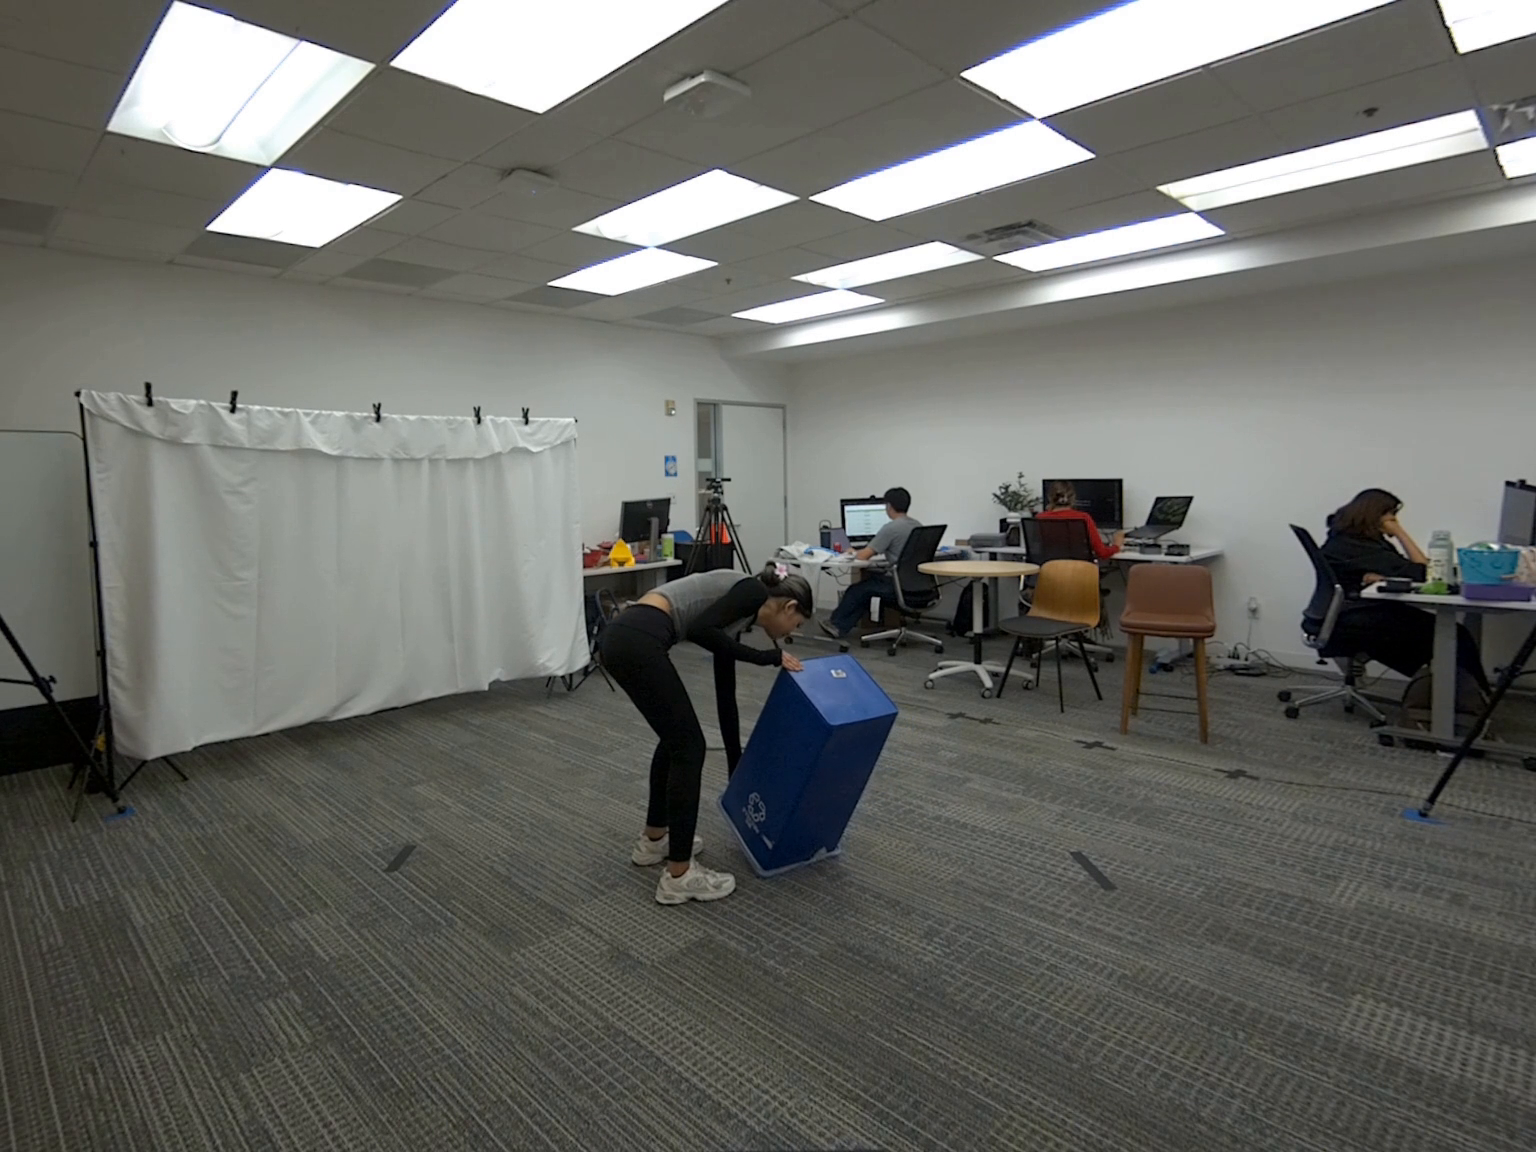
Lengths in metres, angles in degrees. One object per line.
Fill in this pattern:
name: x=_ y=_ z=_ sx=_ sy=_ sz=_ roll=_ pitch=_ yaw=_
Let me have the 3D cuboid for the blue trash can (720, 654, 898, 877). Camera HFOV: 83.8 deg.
blue trash can: x=0.142 y=0.656 z=3.020 sx=0.368 sy=0.703 sz=0.389 roll=-3 pitch=36 yaw=-34
